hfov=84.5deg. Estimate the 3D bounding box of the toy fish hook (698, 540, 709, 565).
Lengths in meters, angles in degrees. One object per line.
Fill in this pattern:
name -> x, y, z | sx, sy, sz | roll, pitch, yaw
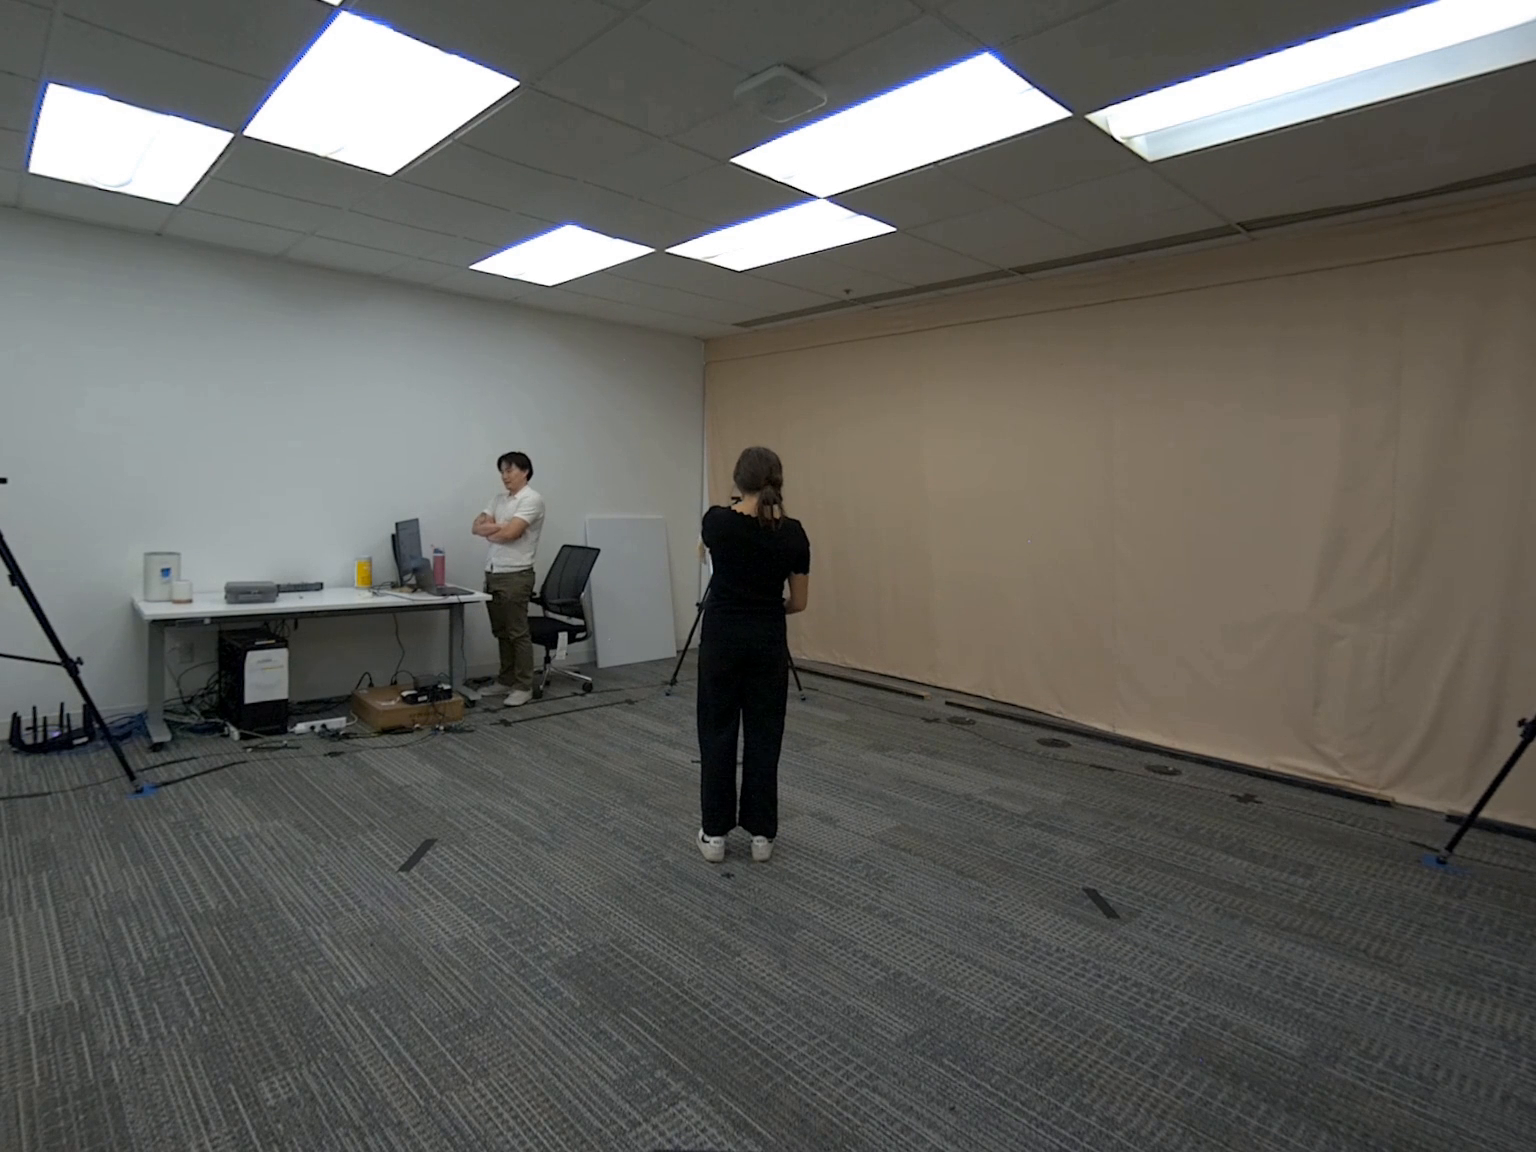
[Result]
toy fish hook -> -0.196, 0.000, 3.679 | 0.225, 0.505, 0.048 | -7, 3, 1
